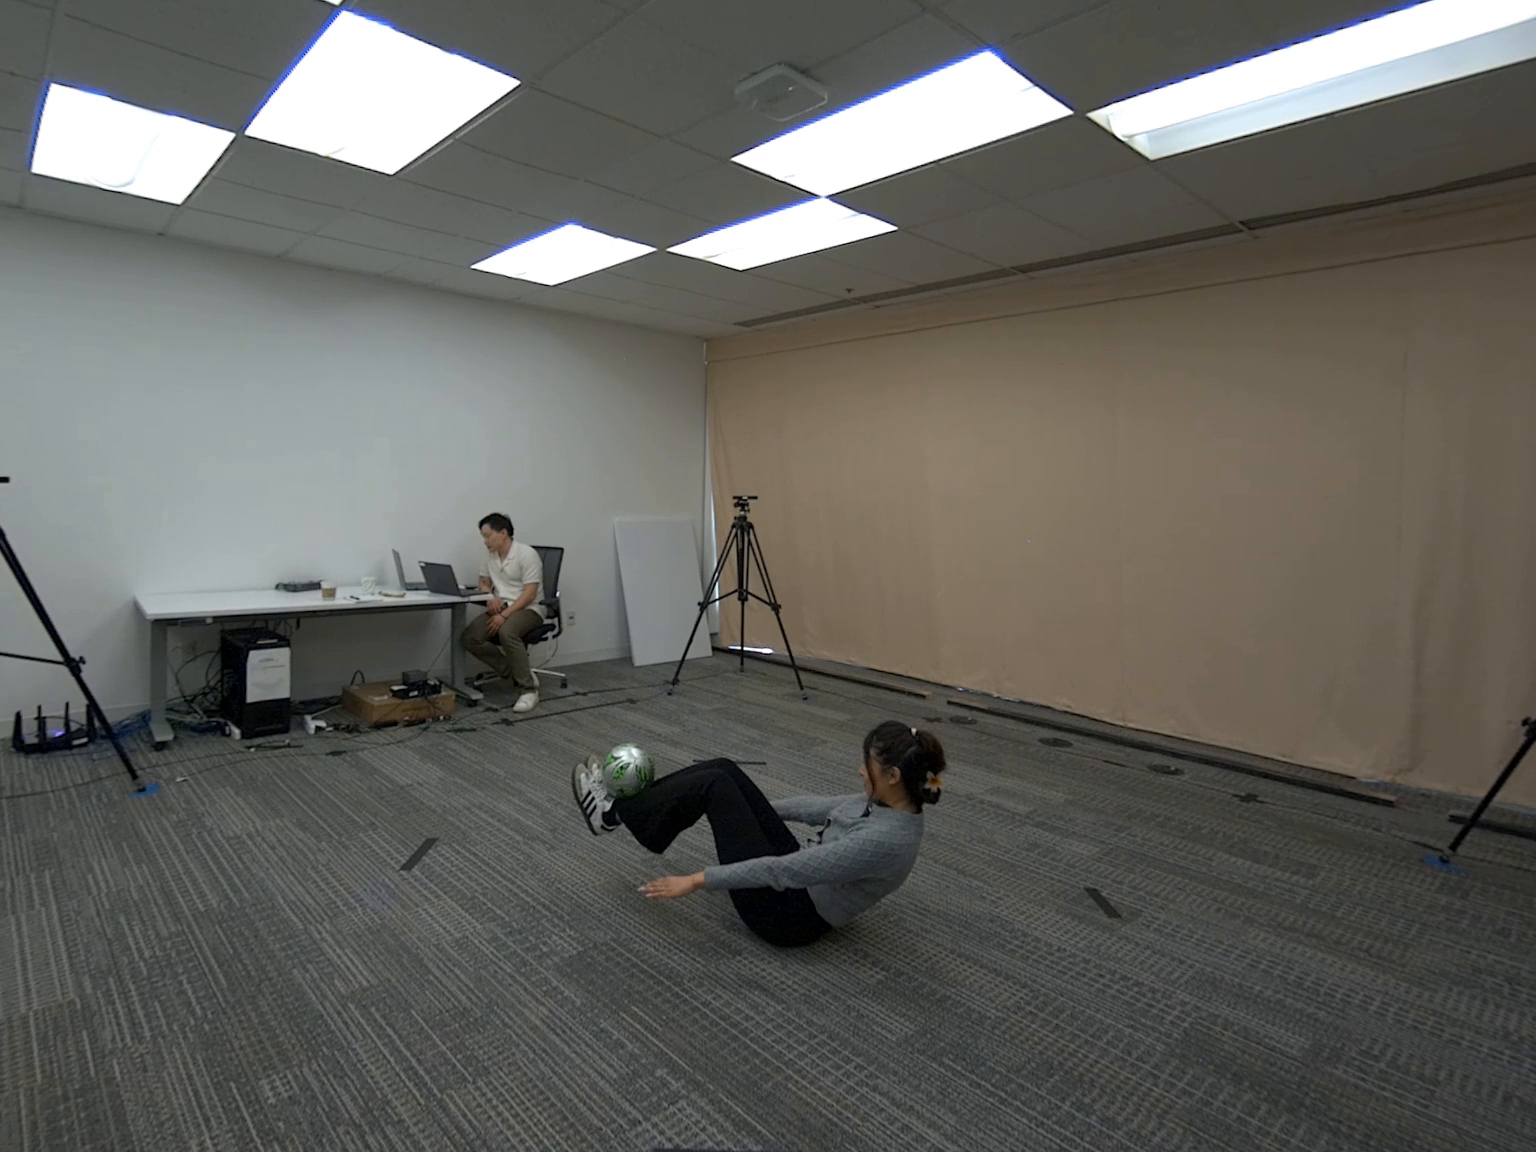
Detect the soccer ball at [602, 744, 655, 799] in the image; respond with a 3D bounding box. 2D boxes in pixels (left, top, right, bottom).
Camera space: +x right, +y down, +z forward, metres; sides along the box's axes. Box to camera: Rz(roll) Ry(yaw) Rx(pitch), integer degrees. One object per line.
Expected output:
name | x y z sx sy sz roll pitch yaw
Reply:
soccer ball | -0.495 0.679 2.907 0.187 0.187 0.188 1 4 -1
